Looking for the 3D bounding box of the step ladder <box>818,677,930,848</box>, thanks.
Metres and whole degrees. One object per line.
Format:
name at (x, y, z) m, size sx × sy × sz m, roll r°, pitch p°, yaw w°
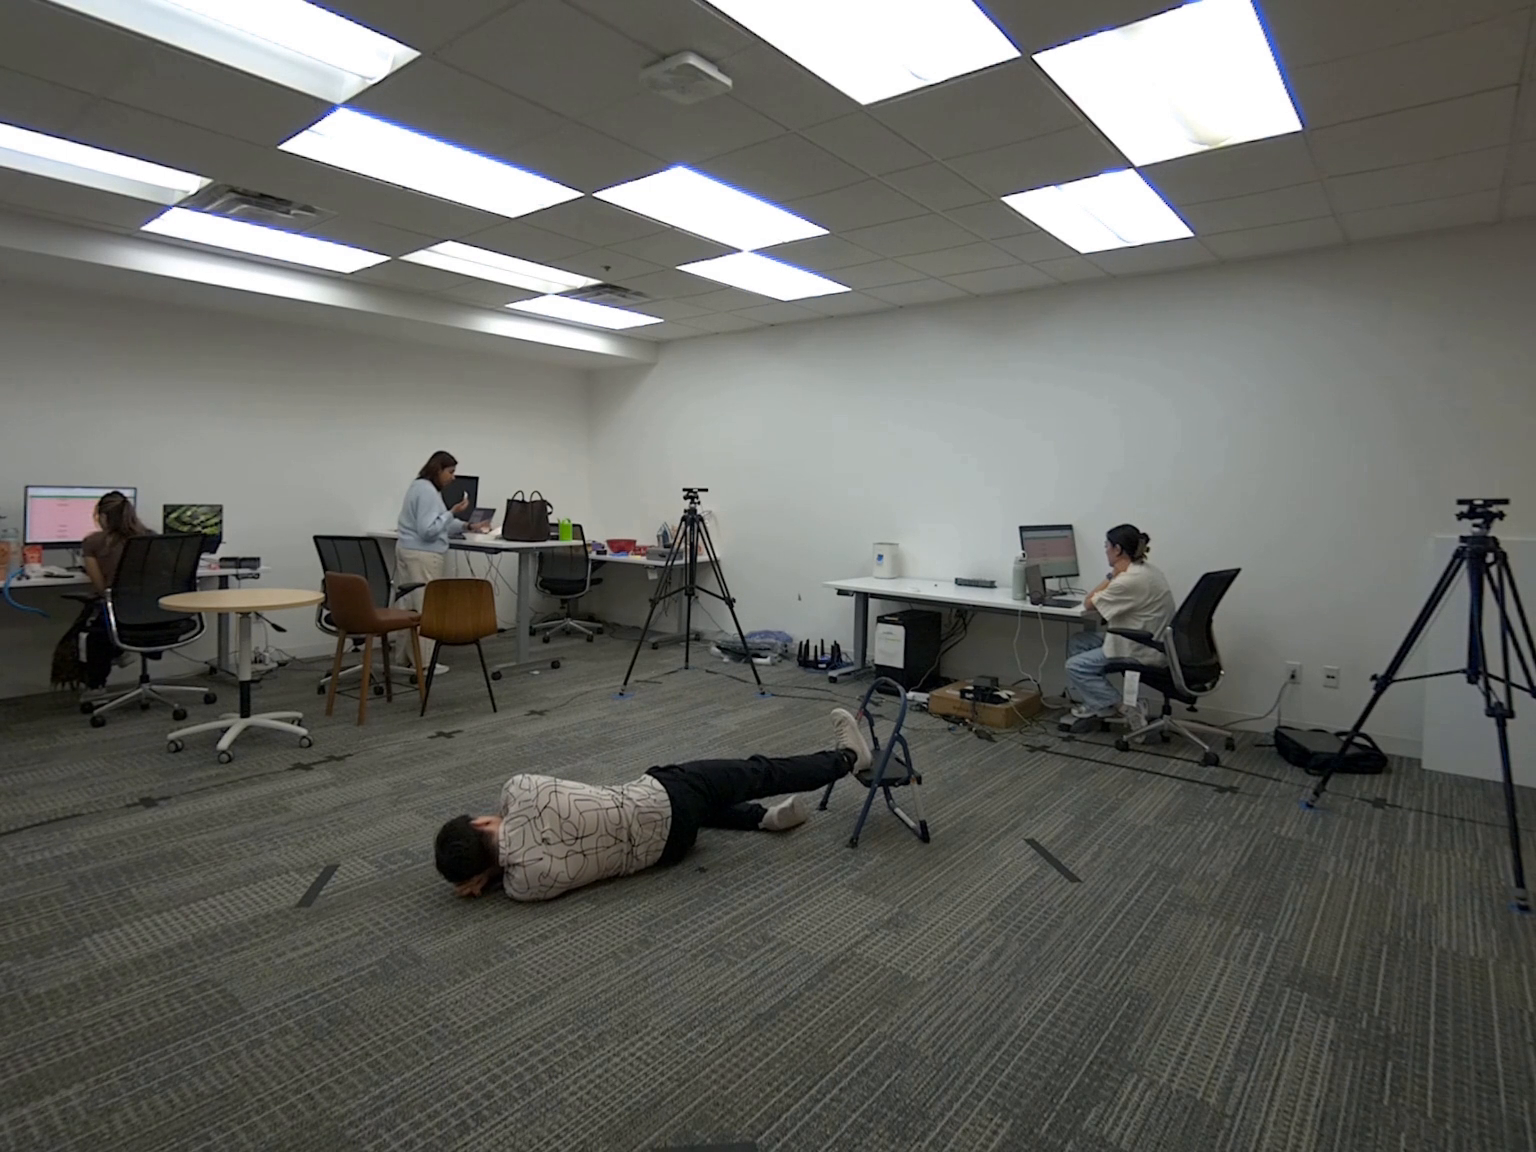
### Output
step ladder at (0.438, 0.741, 3.552) m, size 0.344 × 0.604 × 0.438 m, roll 0°, pitch 4°, yaw -14°
